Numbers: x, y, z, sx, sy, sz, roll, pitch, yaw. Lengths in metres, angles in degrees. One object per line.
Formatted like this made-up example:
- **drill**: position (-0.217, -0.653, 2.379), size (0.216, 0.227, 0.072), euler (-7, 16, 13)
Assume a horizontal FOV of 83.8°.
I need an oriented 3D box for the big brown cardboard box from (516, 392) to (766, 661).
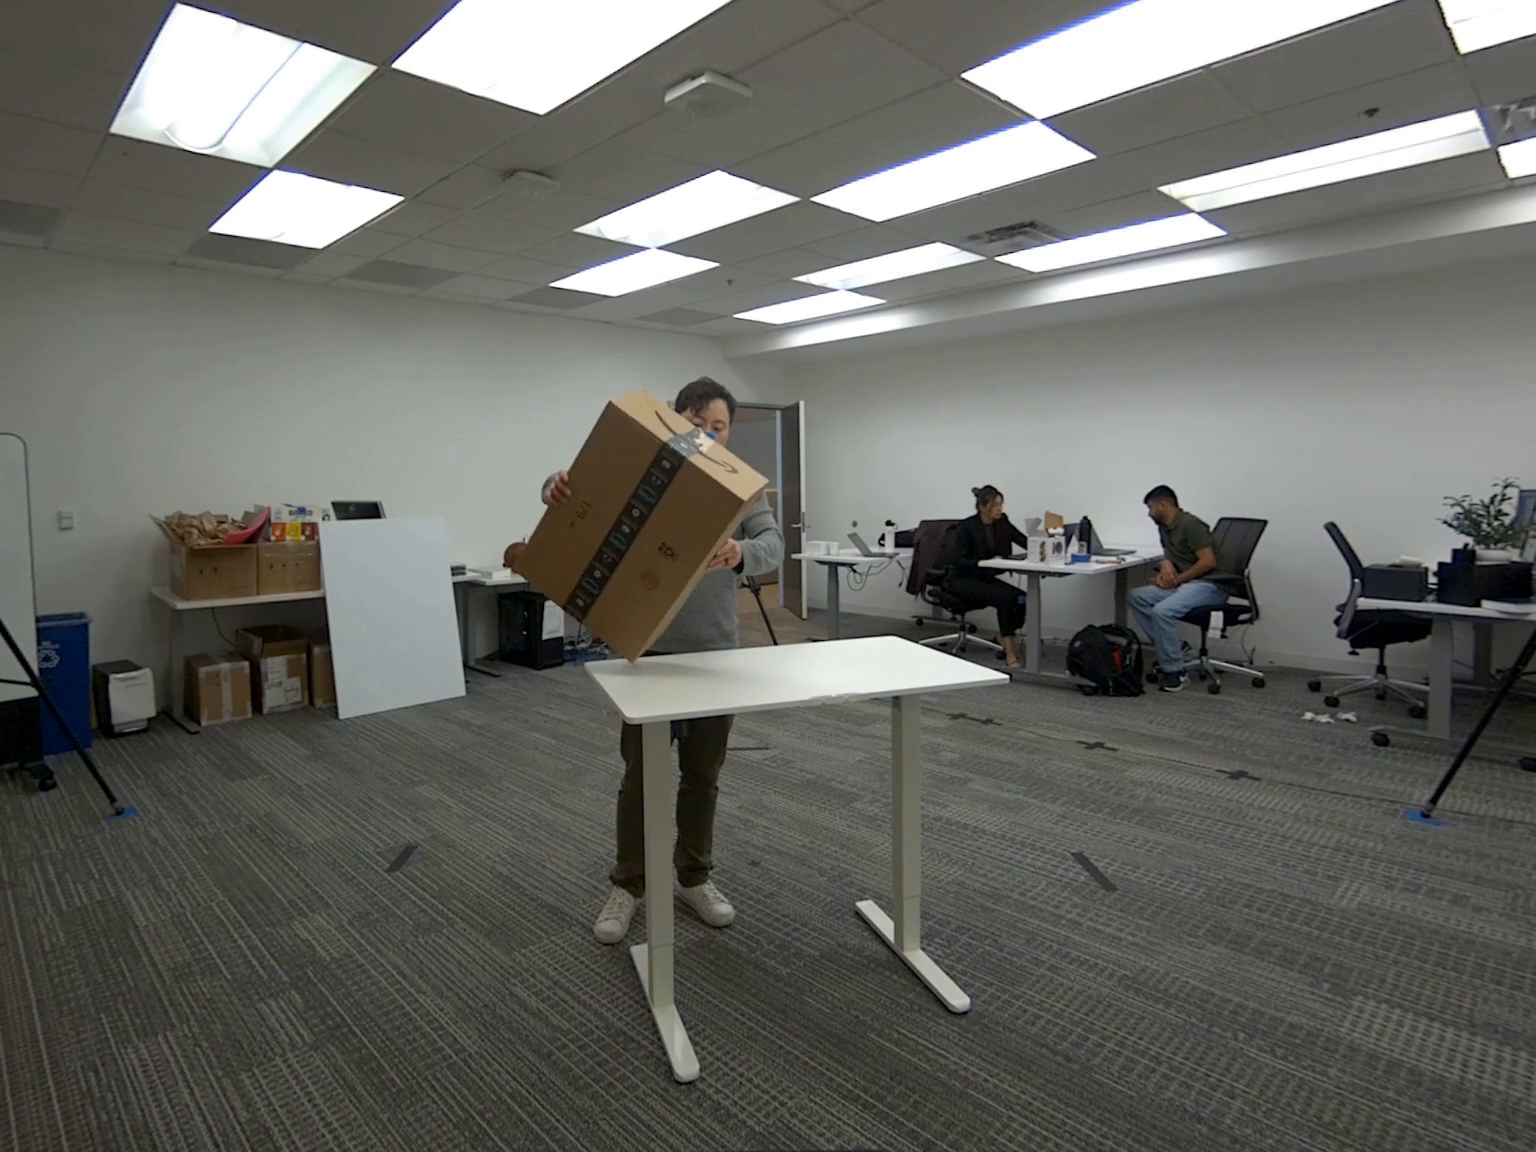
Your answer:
- **big brown cardboard box**: position (-0.339, -0.118, 2.250), size (0.420, 0.586, 0.233), euler (38, 26, 4)
